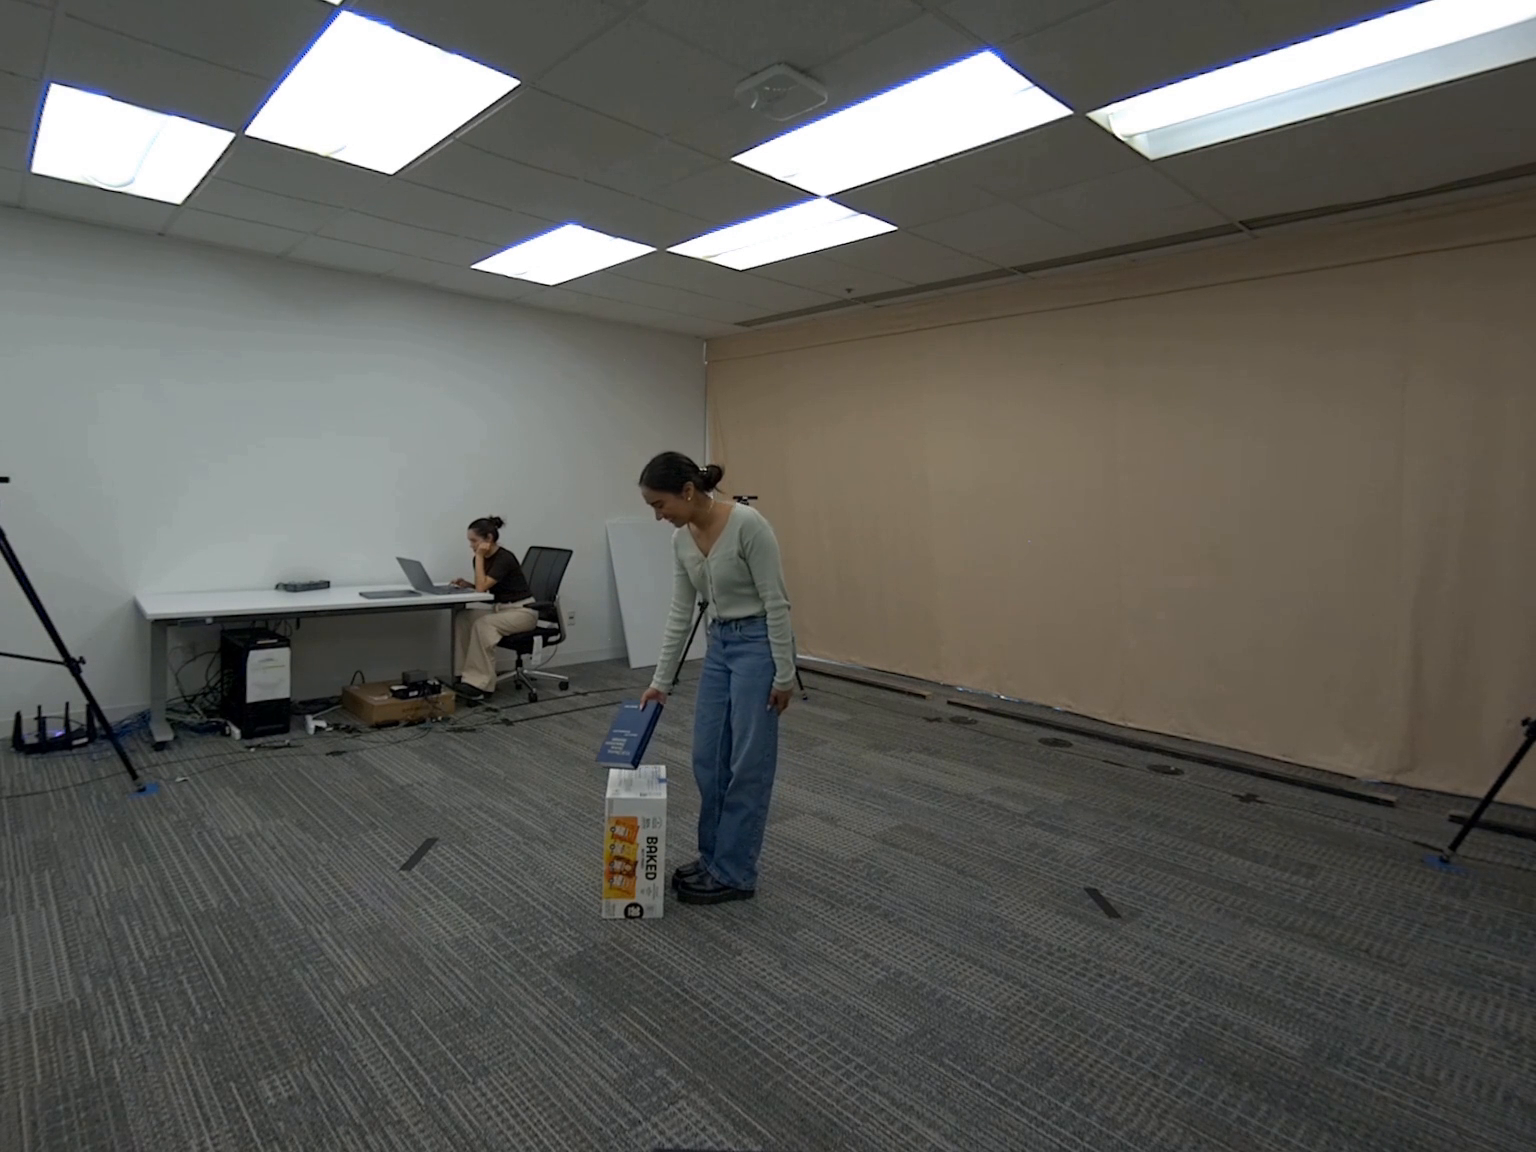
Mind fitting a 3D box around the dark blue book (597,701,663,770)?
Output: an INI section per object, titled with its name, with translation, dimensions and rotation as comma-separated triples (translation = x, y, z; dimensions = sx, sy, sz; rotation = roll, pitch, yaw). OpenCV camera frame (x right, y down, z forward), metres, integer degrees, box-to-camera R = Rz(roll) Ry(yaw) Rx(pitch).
[dark blue book]
translation = -0.473, 0.539, 2.878
dimensions = 0.166, 0.248, 0.044
rotation = -6, -43, 33
